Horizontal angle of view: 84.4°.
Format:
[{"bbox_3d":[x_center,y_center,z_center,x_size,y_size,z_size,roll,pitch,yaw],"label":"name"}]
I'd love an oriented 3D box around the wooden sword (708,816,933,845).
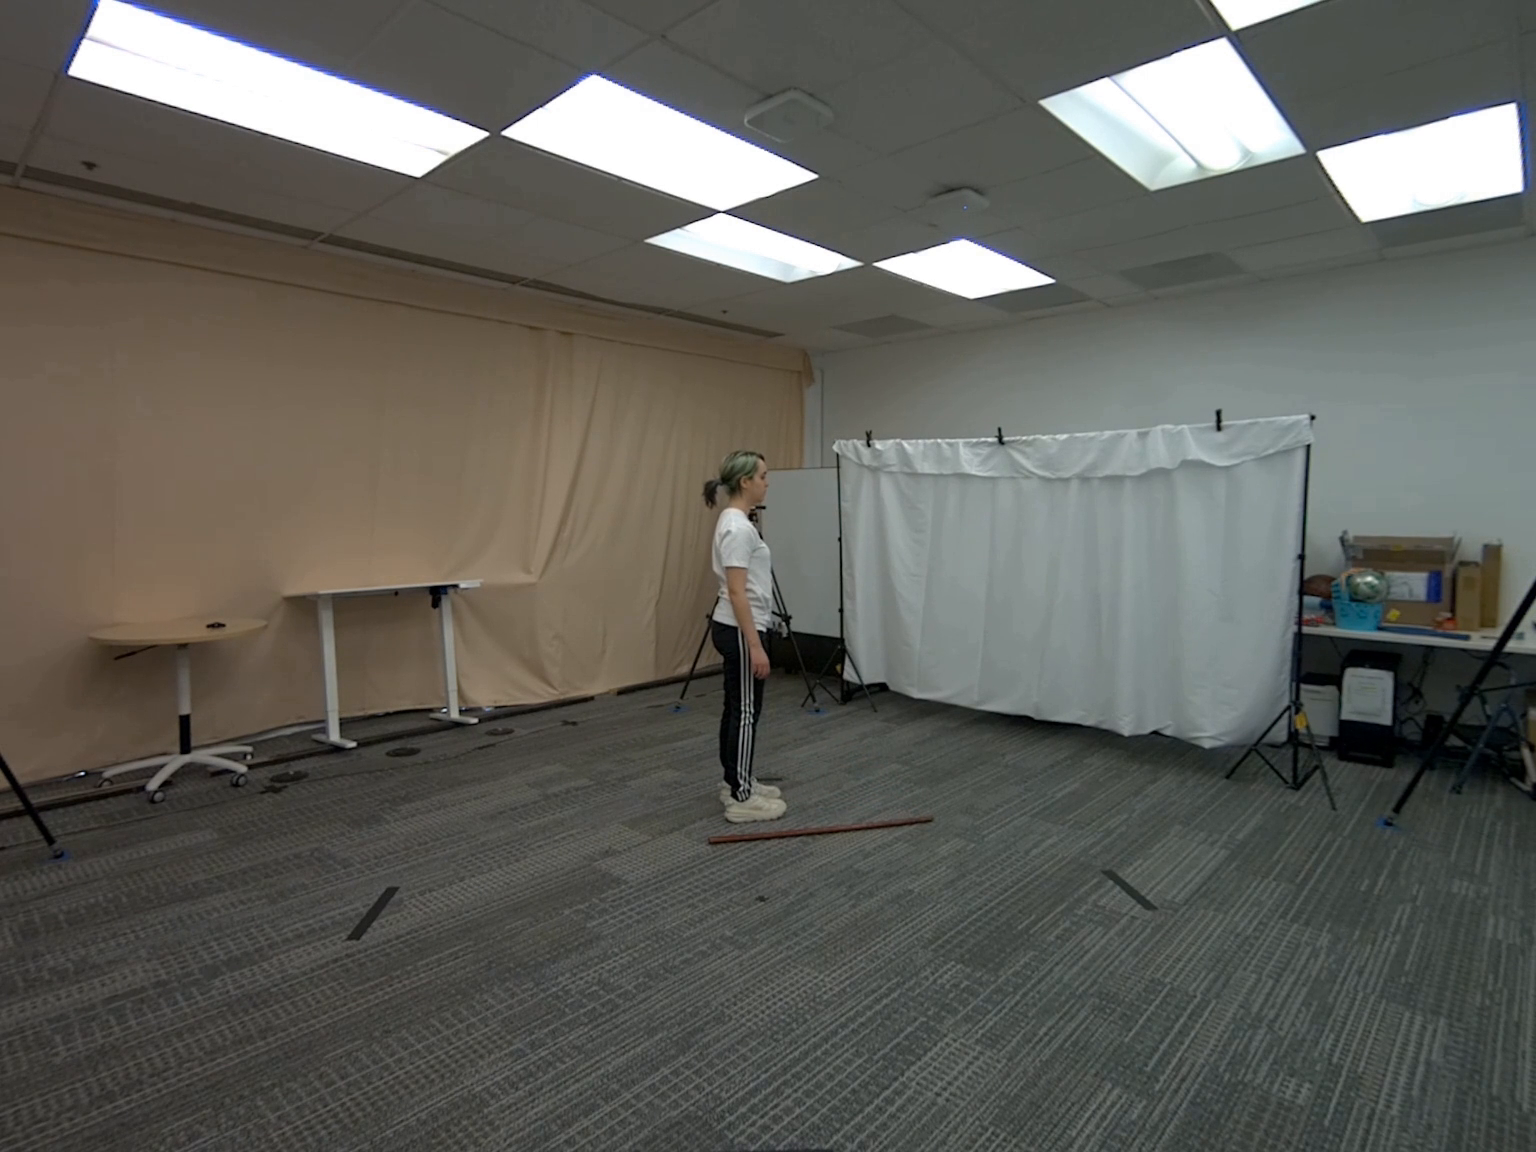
[{"bbox_3d":[0.244,1.071,3.586,1.009,0.024,0.052,-1,-1,-14],"label":"wooden sword"}]
